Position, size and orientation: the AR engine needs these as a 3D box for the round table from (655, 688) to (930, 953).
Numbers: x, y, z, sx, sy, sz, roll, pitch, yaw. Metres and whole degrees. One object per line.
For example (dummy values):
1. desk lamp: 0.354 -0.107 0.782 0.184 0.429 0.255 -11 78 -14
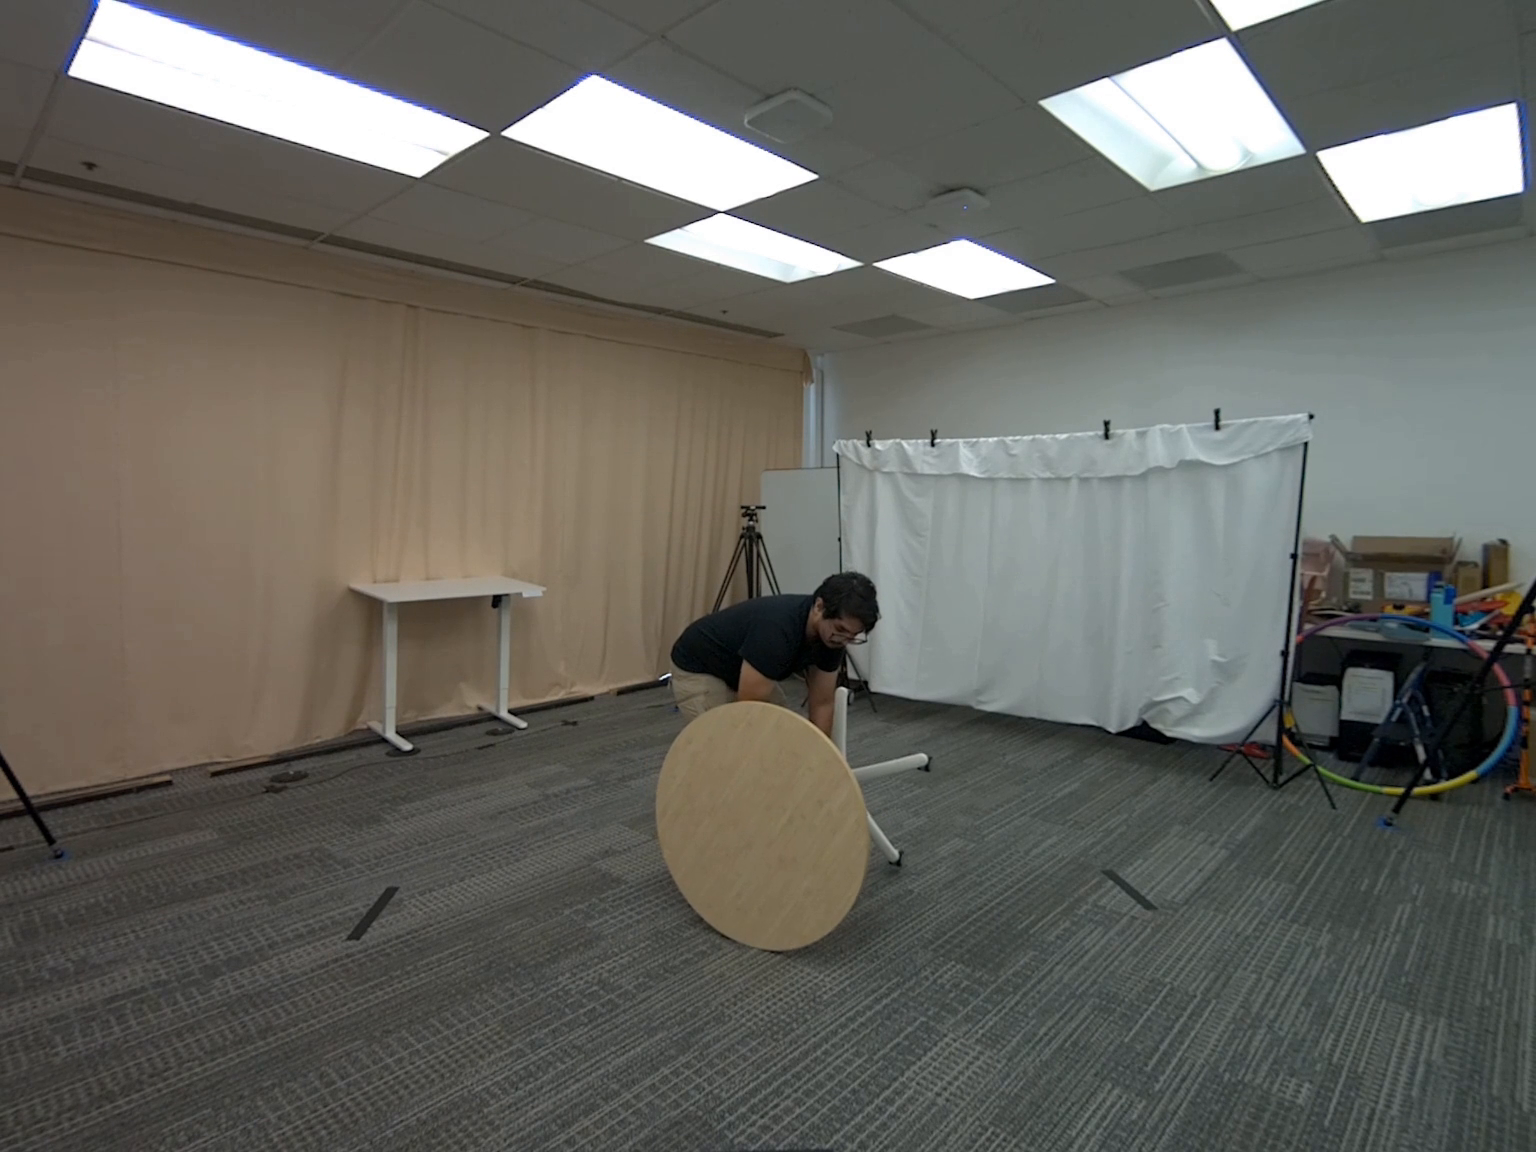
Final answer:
1. round table: 0.148 0.778 3.001 0.808 0.785 0.764 2 1 30
